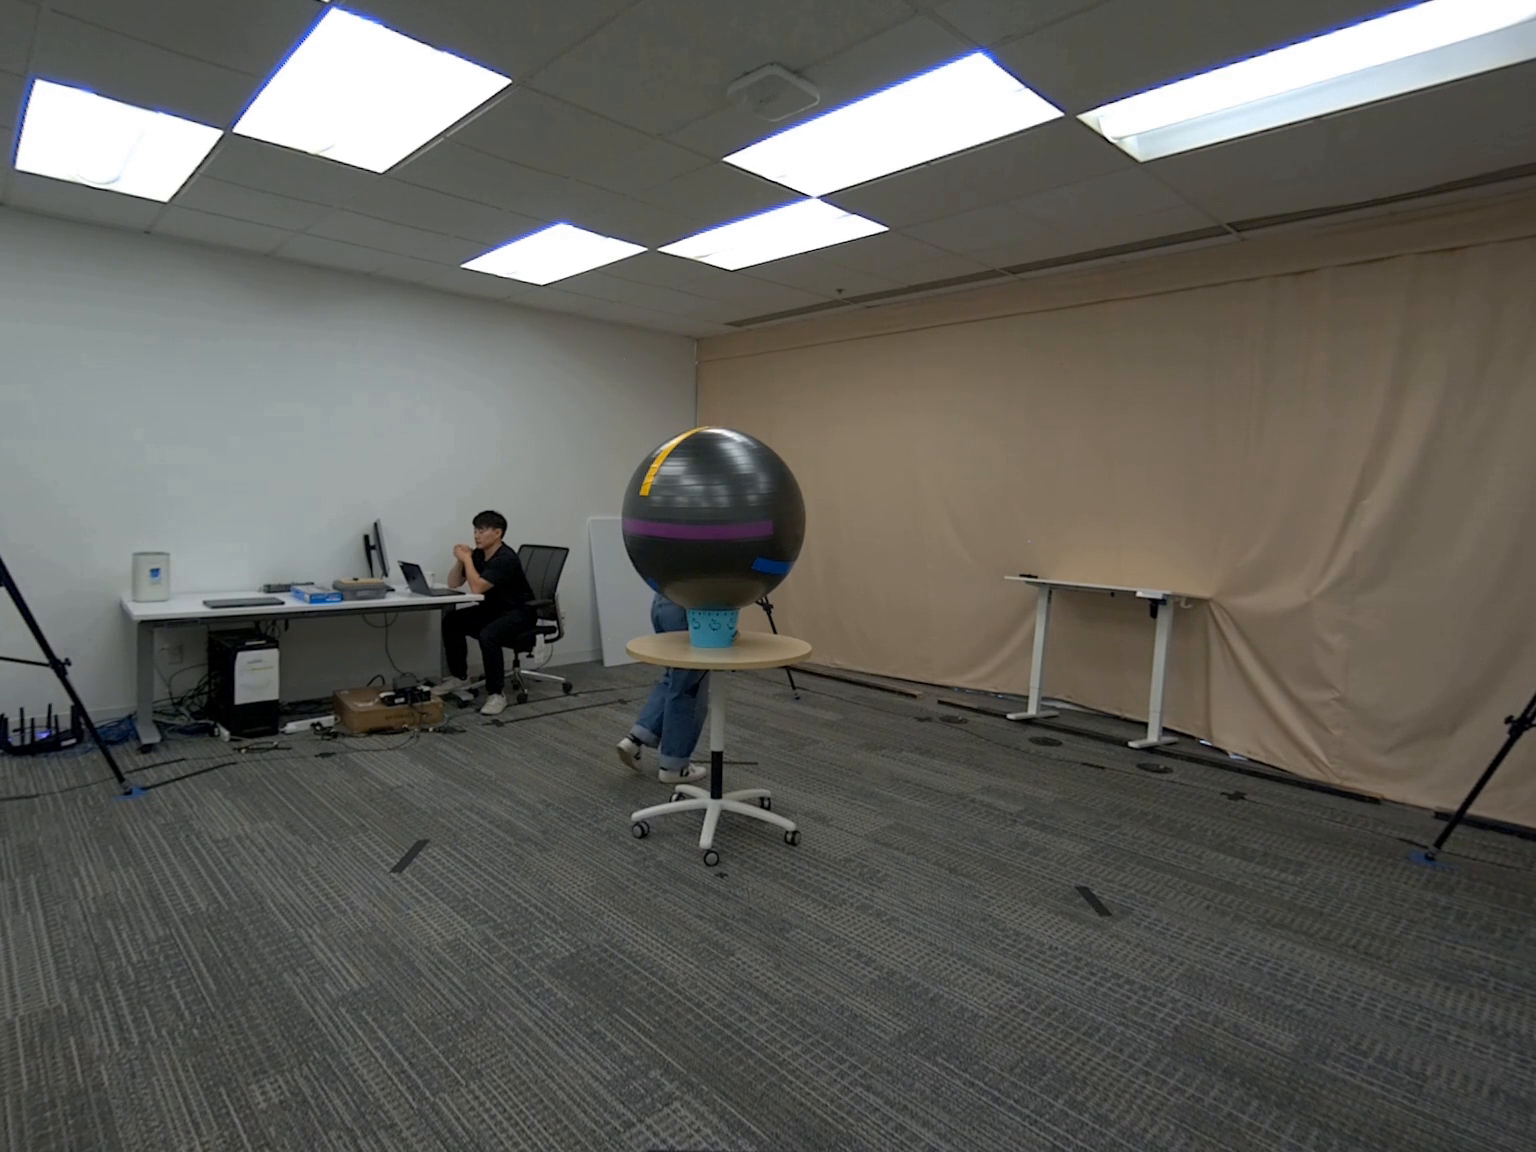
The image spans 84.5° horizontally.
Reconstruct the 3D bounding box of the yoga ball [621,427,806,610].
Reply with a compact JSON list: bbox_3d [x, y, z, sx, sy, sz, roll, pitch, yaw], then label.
[{"bbox_3d":[-0.230,-0.231,3.493,0.757,0.756,0.761,1,4,-1],"label":"yoga ball"}]
